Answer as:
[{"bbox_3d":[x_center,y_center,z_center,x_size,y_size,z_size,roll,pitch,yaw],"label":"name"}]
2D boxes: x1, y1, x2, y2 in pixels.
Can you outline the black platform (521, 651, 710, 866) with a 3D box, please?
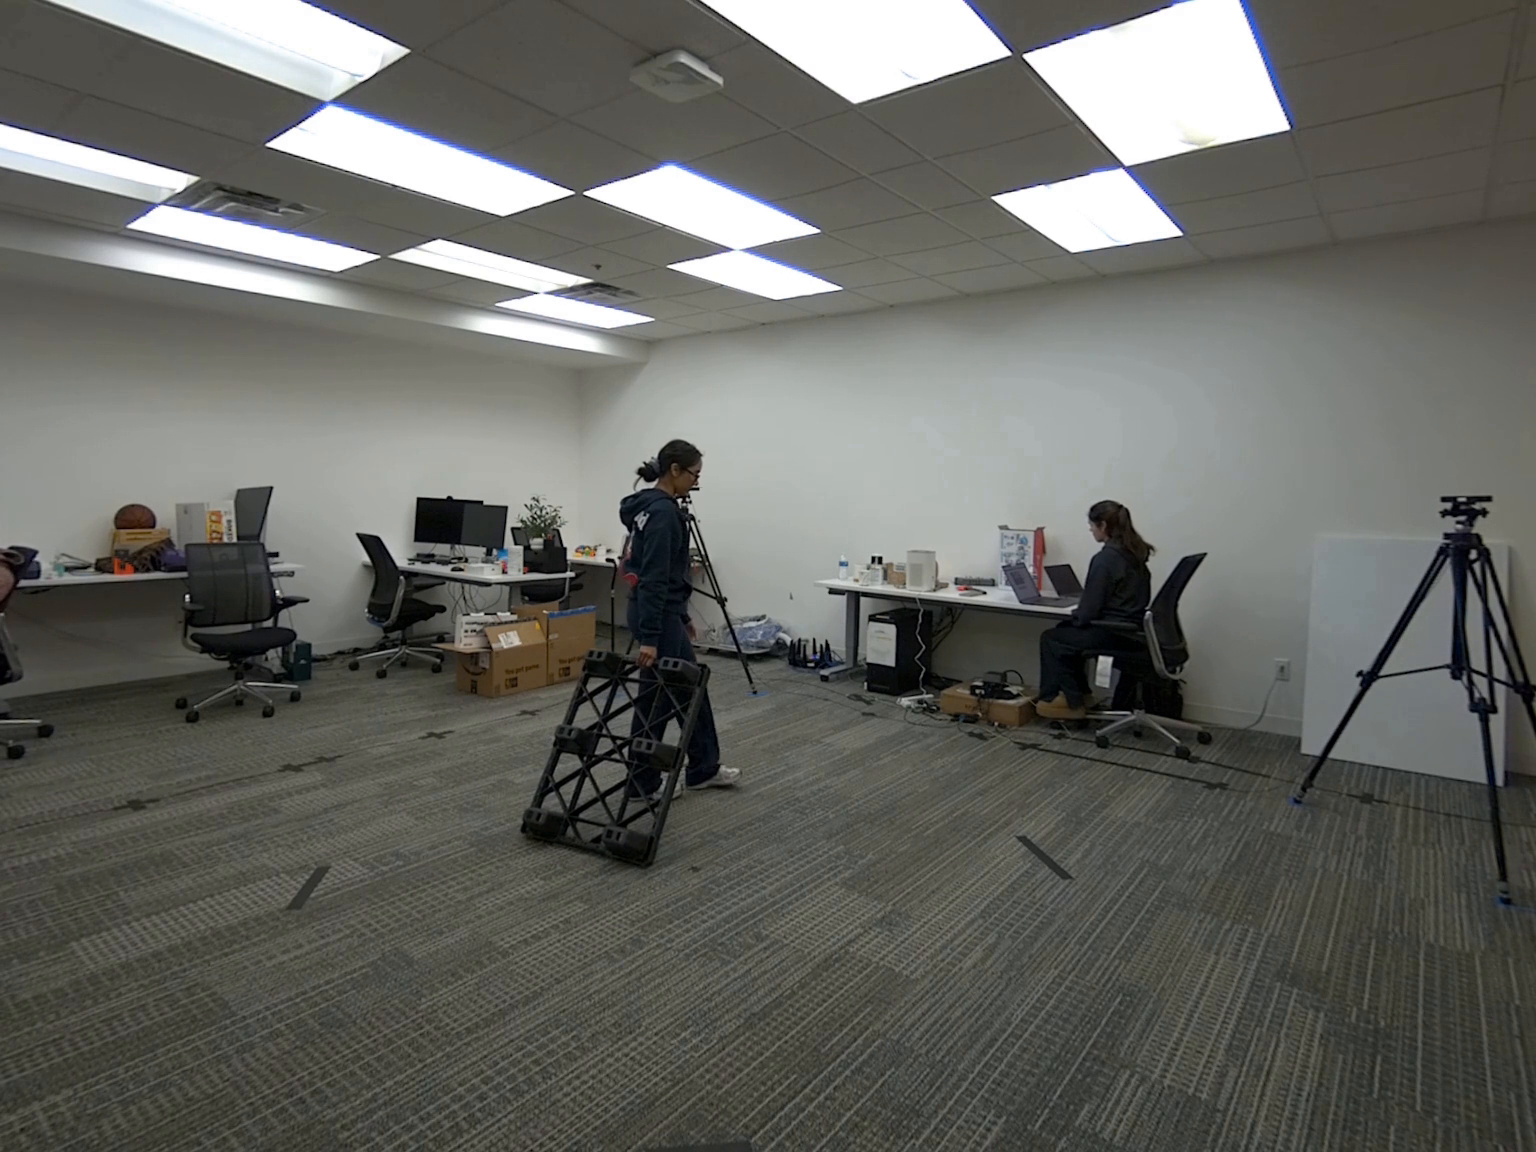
[{"bbox_3d":[-0.626,0.671,3.384,0.621,0.818,0.137,2,-30,26],"label":"black platform"}]
